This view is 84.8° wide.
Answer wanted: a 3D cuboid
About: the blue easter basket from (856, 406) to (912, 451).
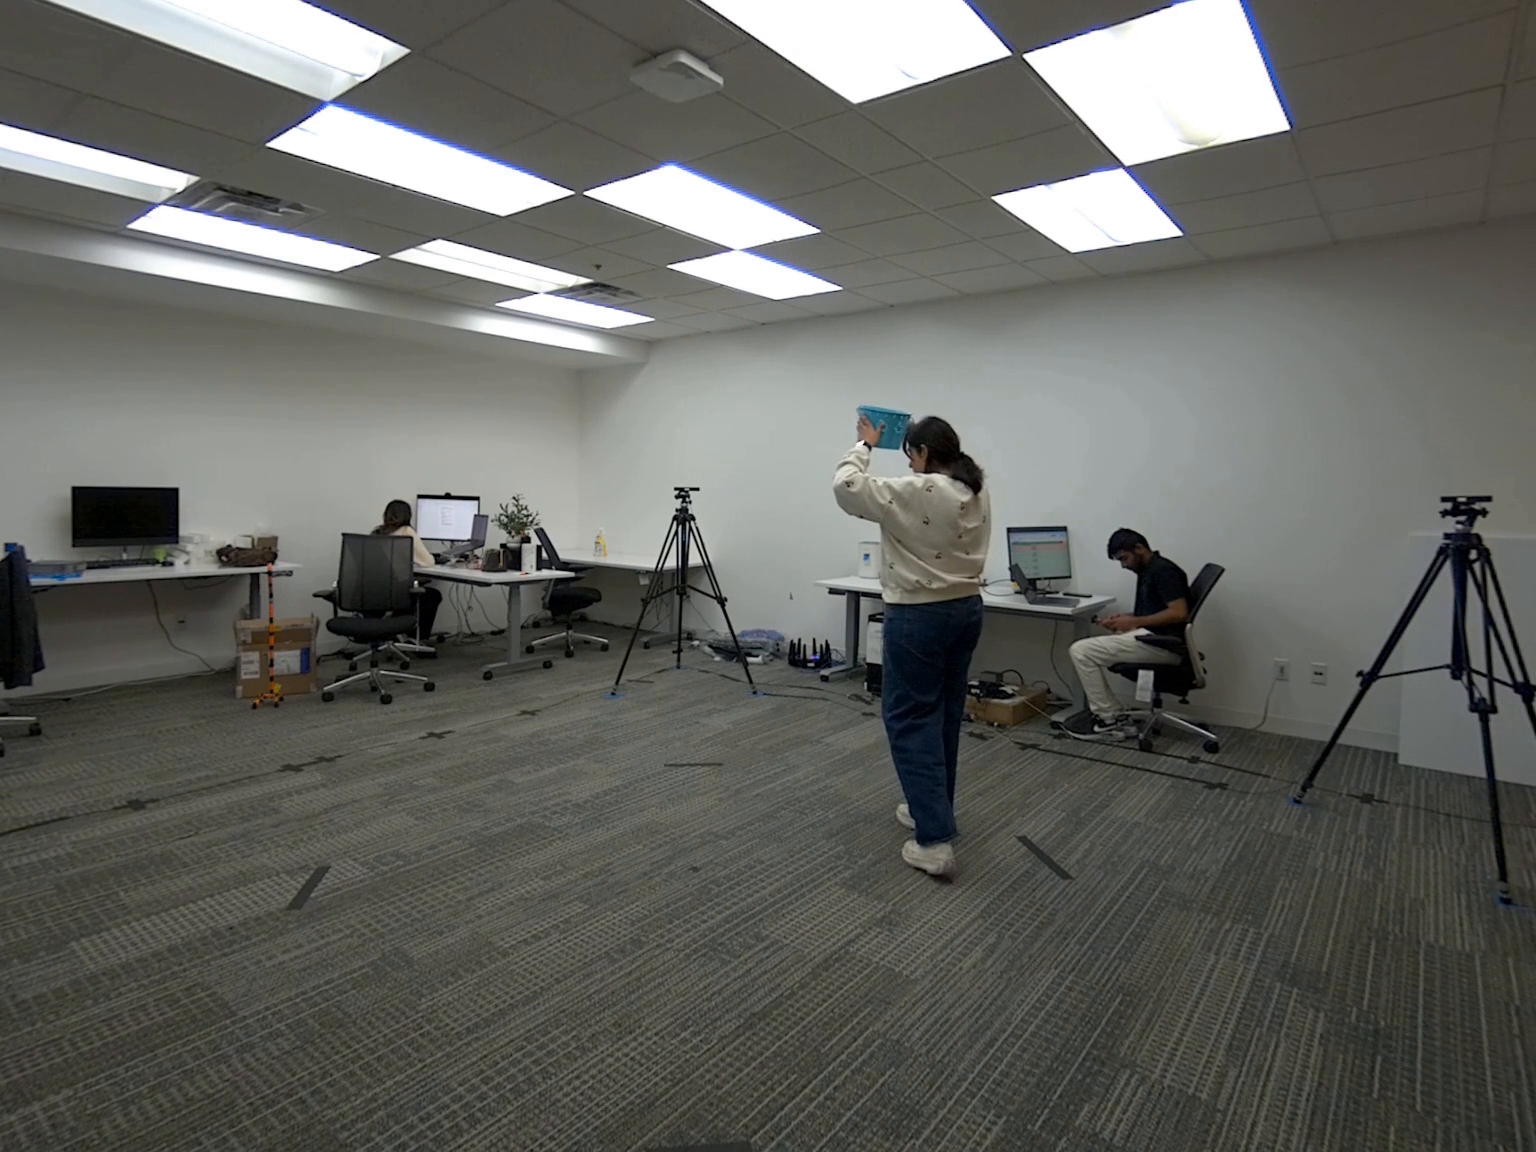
[{"bbox_3d":[0.473,-0.619,3.526,0.243,0.154,0.247,8,13,-4],"label":"blue easter basket"}]
